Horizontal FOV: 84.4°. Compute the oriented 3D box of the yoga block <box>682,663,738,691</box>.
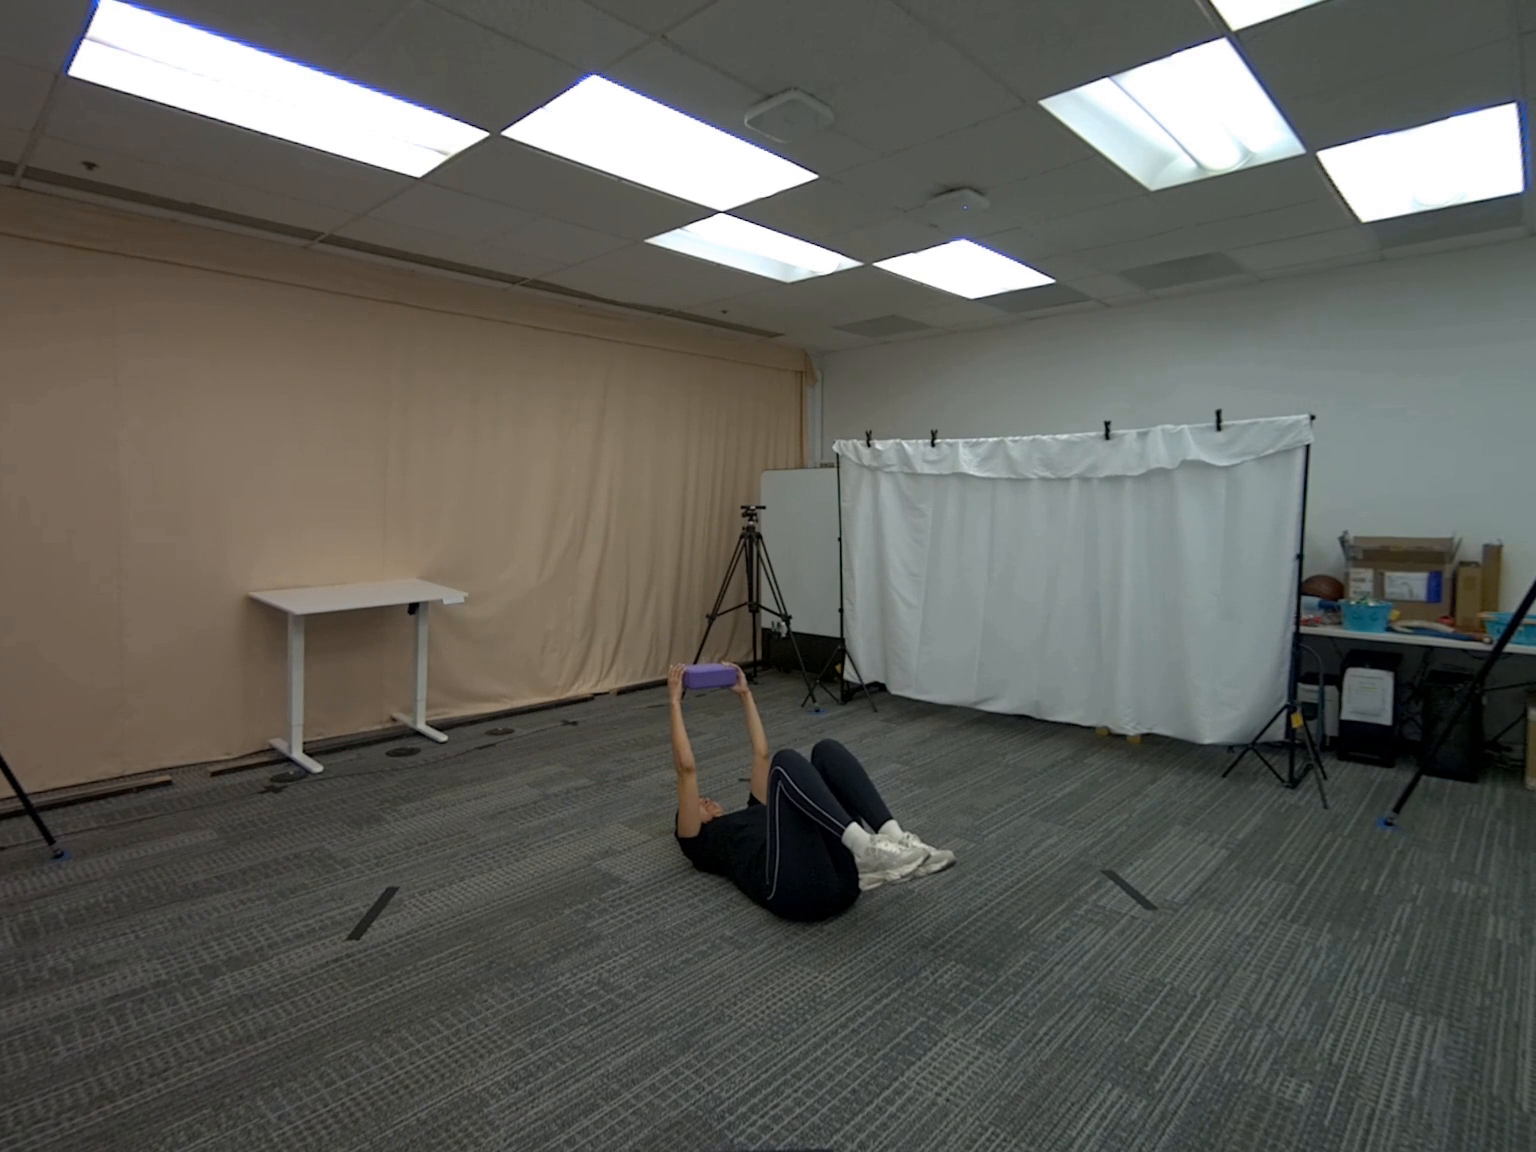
[{"bbox_3d":[-0.265,0.409,3.469,0.222,0.076,0.154,0,2,-39],"label":"yoga block"}]
